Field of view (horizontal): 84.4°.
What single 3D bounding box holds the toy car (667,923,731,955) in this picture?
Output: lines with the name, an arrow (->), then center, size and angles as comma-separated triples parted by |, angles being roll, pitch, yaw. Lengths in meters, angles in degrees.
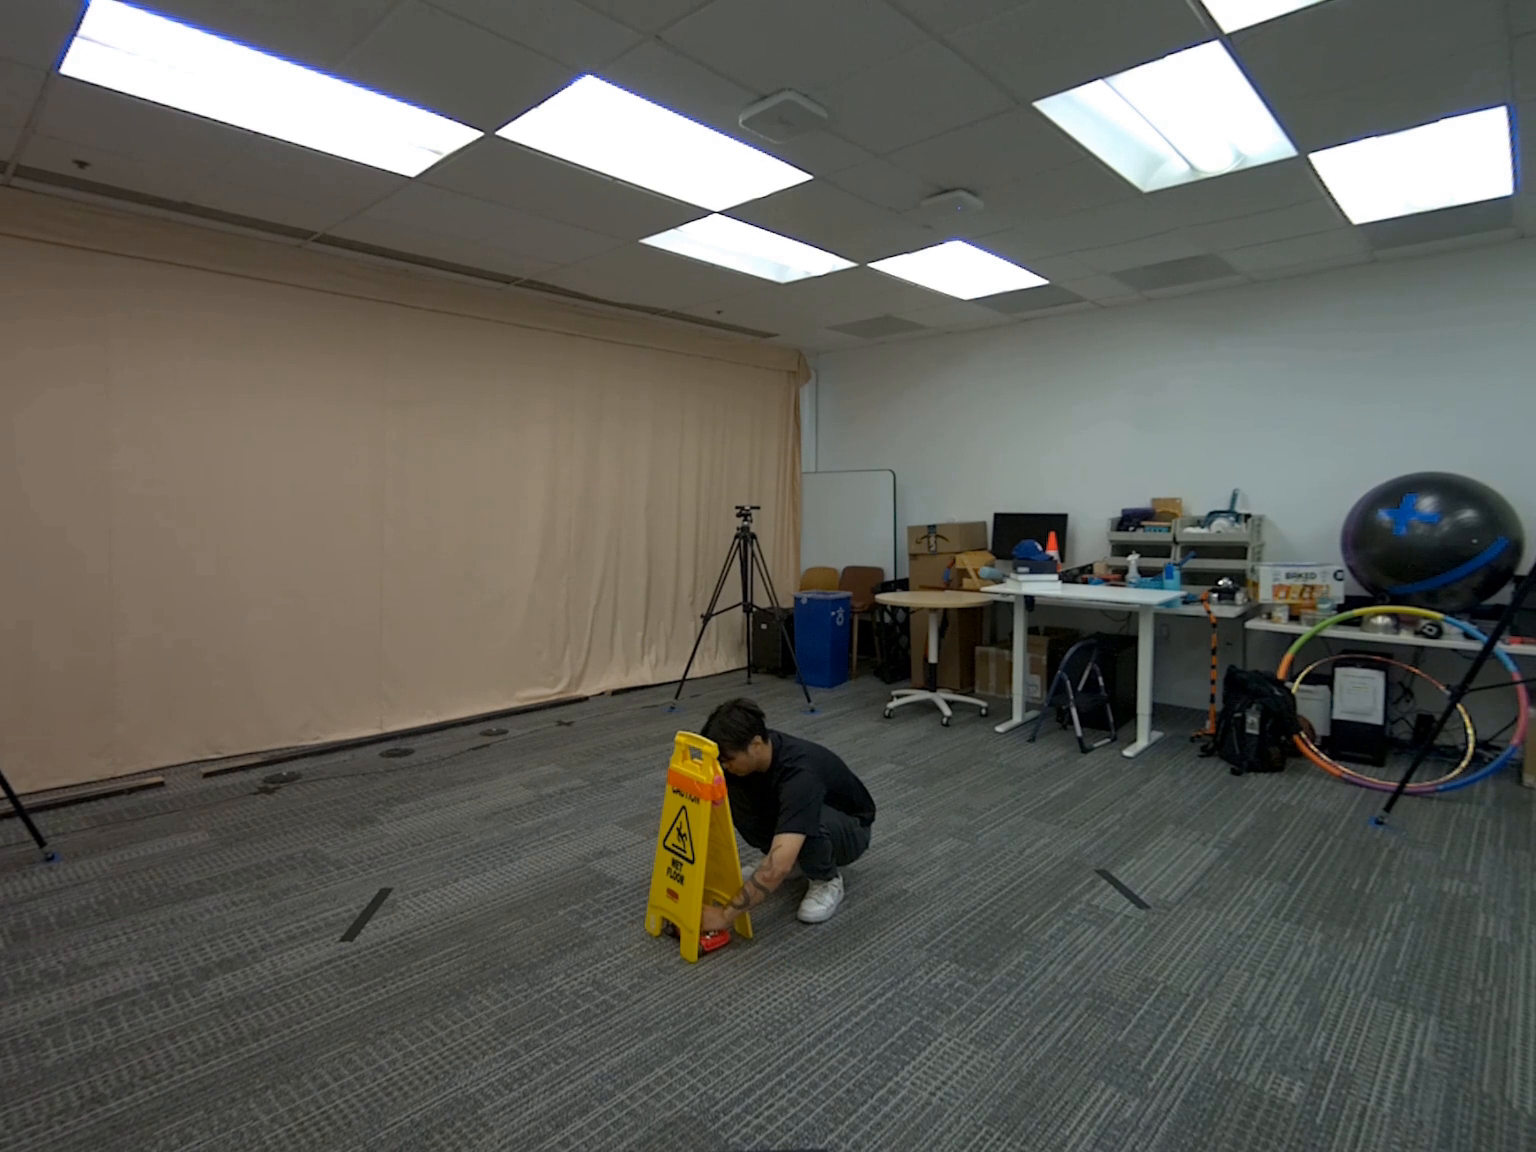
toy car -> -0.241, 1.140, 2.717 | 0.126, 0.082, 0.264 | -6, 17, -41
